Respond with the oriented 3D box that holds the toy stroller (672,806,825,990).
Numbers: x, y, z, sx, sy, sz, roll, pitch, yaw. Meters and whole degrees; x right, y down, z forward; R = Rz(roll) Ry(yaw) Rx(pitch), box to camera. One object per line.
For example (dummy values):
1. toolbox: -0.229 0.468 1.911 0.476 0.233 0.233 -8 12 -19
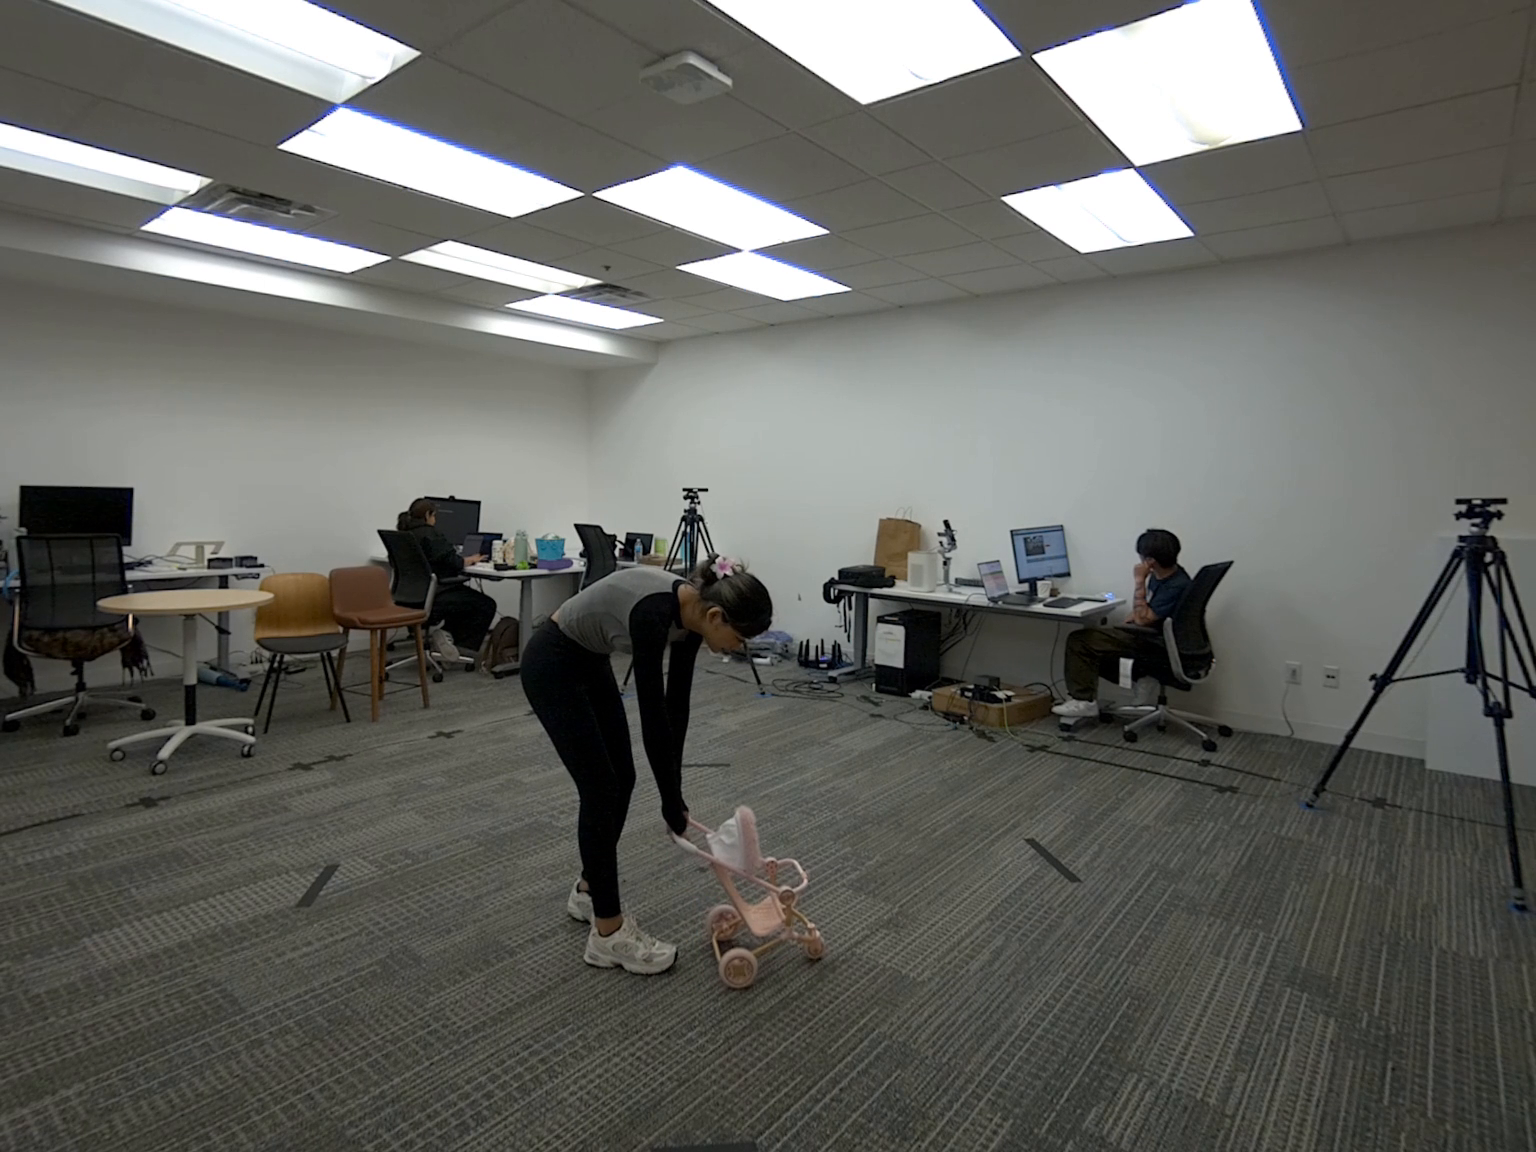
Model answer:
1. toy stroller: -0.051 0.914 2.487 0.340 0.532 0.284 -16 5 -5
